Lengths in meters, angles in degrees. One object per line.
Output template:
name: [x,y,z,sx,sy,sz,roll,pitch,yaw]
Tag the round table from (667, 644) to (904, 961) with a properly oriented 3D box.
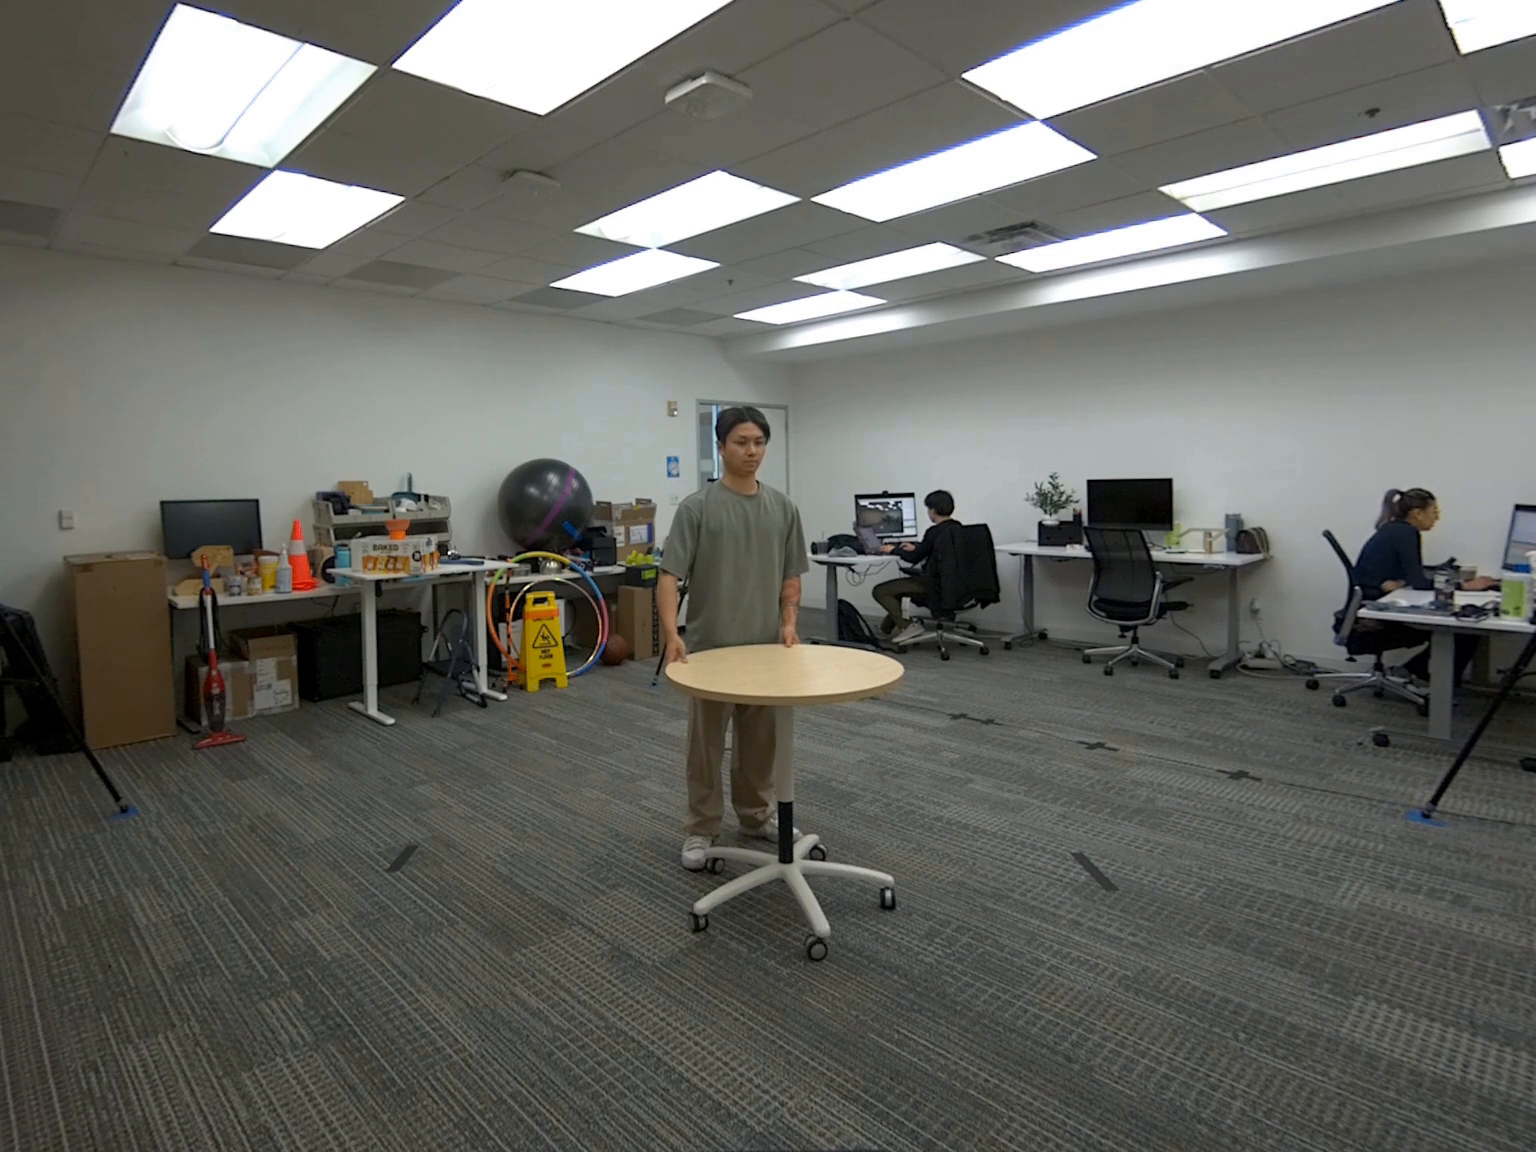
round table: [0.058,0.689,2.774,0.784,0.784,0.788,-2,4,-2]
